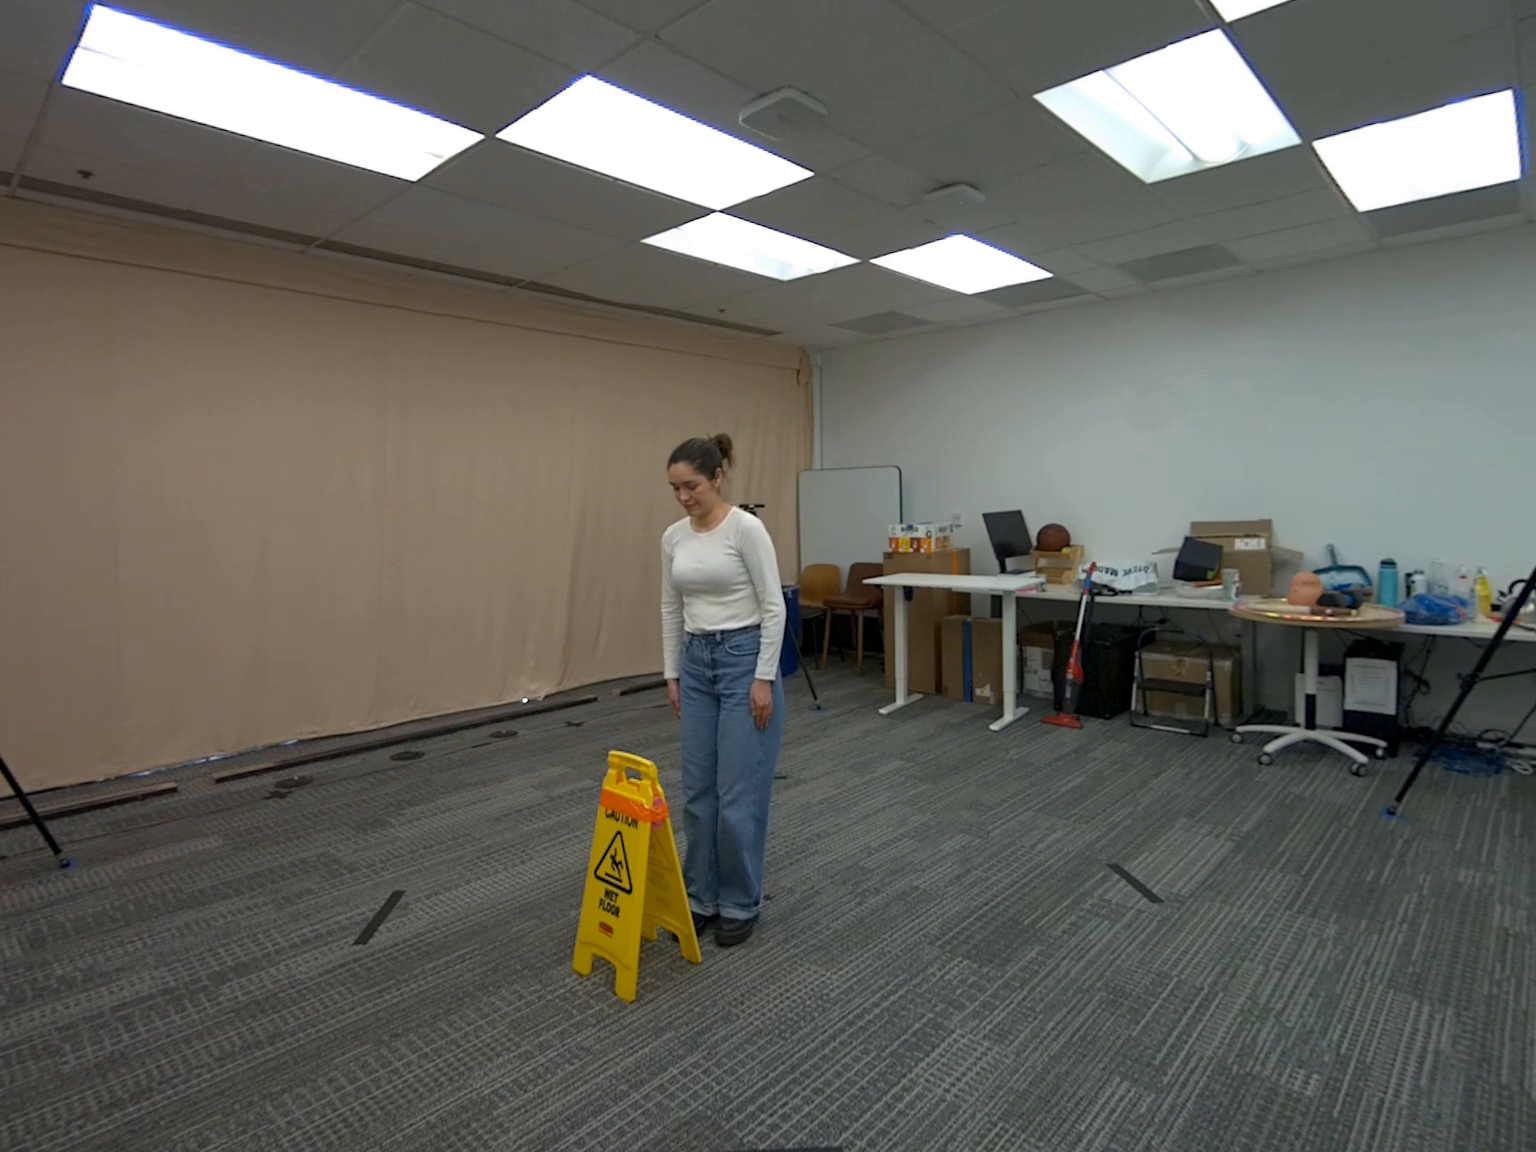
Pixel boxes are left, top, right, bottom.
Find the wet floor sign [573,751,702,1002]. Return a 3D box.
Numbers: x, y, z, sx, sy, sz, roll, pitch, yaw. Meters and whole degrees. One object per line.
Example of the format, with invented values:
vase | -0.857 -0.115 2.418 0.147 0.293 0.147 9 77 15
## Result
wet floor sign | -0.402 0.862 2.537 0.291 0.645 0.281 1 4 43
